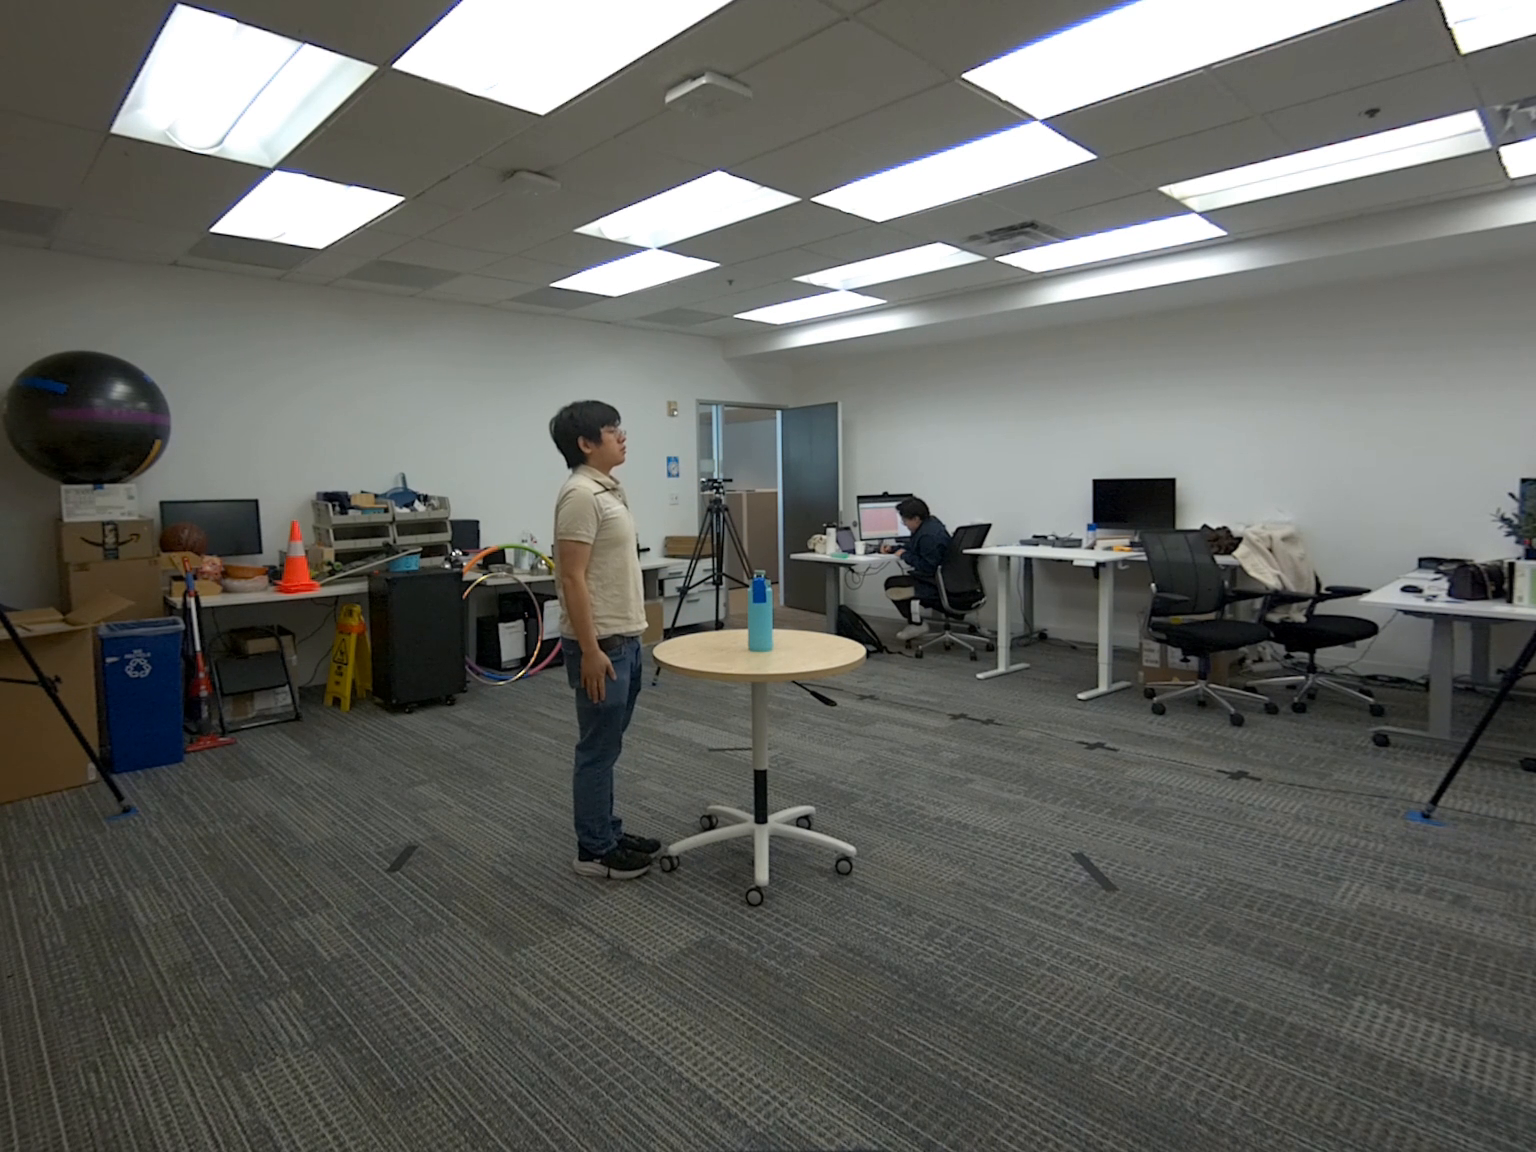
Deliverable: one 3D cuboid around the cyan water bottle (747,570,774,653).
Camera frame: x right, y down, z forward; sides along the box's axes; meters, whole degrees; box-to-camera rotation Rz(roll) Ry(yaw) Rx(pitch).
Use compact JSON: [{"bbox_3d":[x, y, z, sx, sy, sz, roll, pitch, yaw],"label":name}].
[{"bbox_3d":[-0.034,0.125,3.071,0.092,0.283,0.092,-2,2,-2],"label":"cyan water bottle"}]
